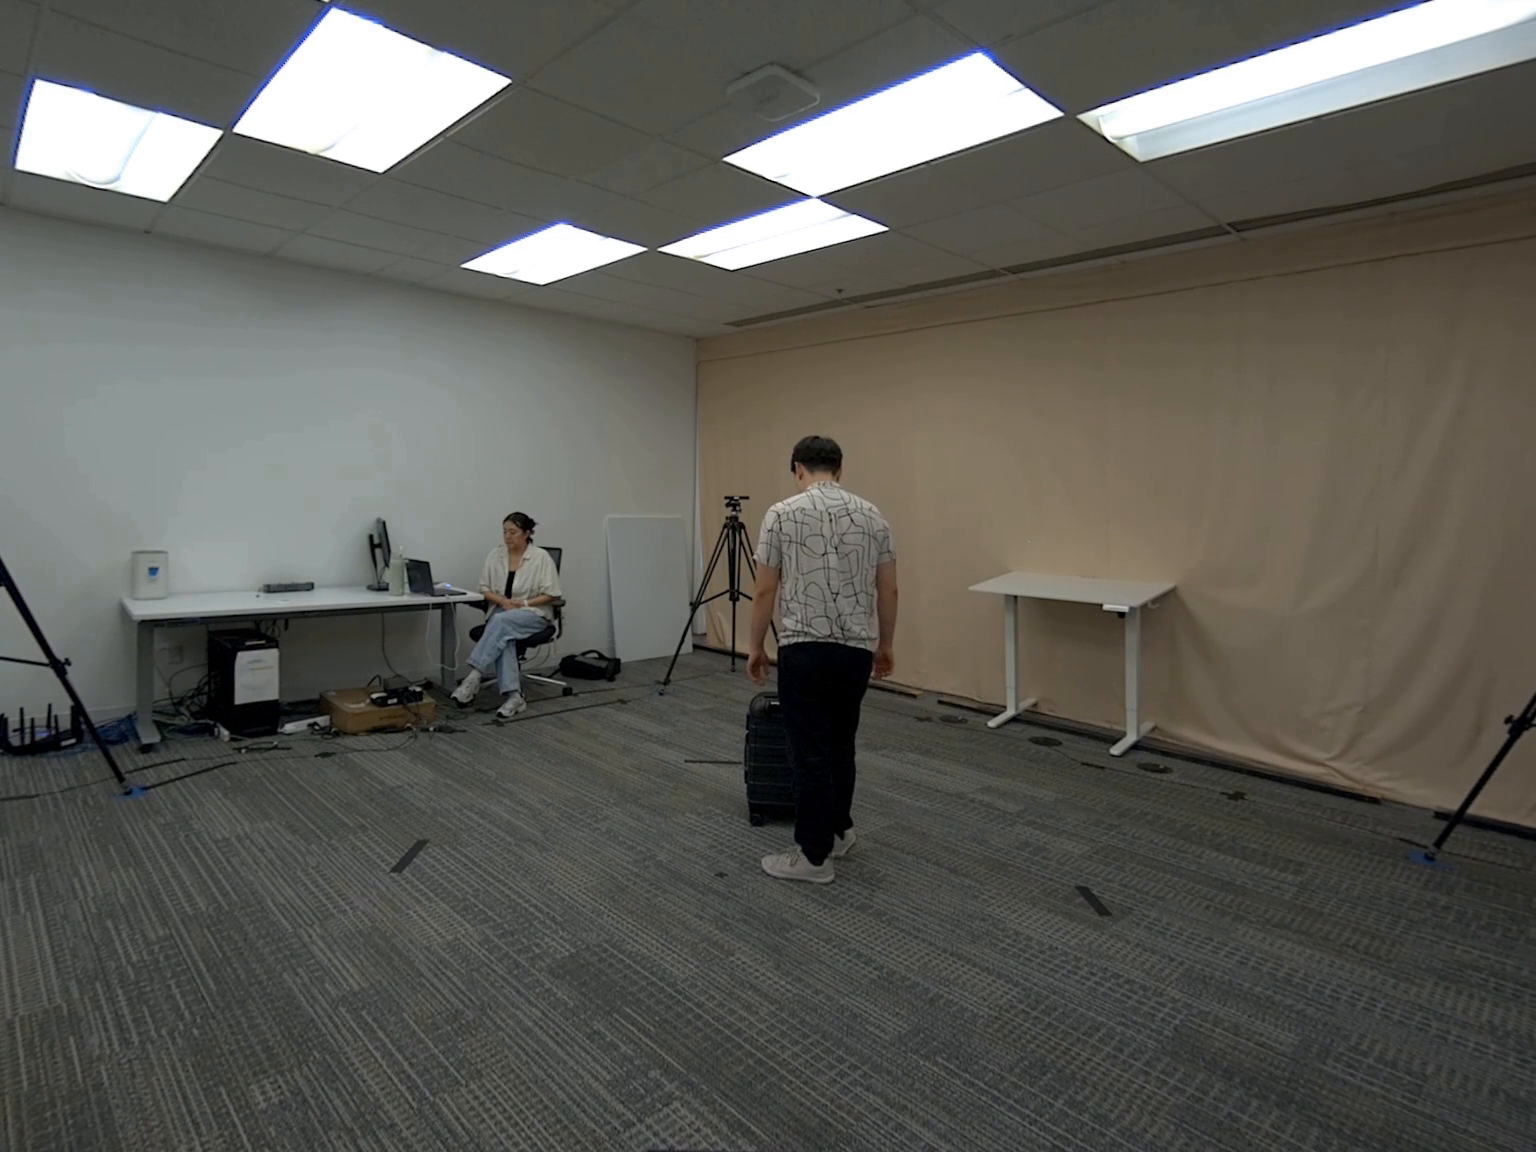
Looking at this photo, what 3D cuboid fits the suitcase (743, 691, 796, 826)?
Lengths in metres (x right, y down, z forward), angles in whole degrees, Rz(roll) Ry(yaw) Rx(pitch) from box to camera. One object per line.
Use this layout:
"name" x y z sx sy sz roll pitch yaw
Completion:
"suitcase" 0.079 0.785 3.681 0.377 0.548 0.248 1 2 4
